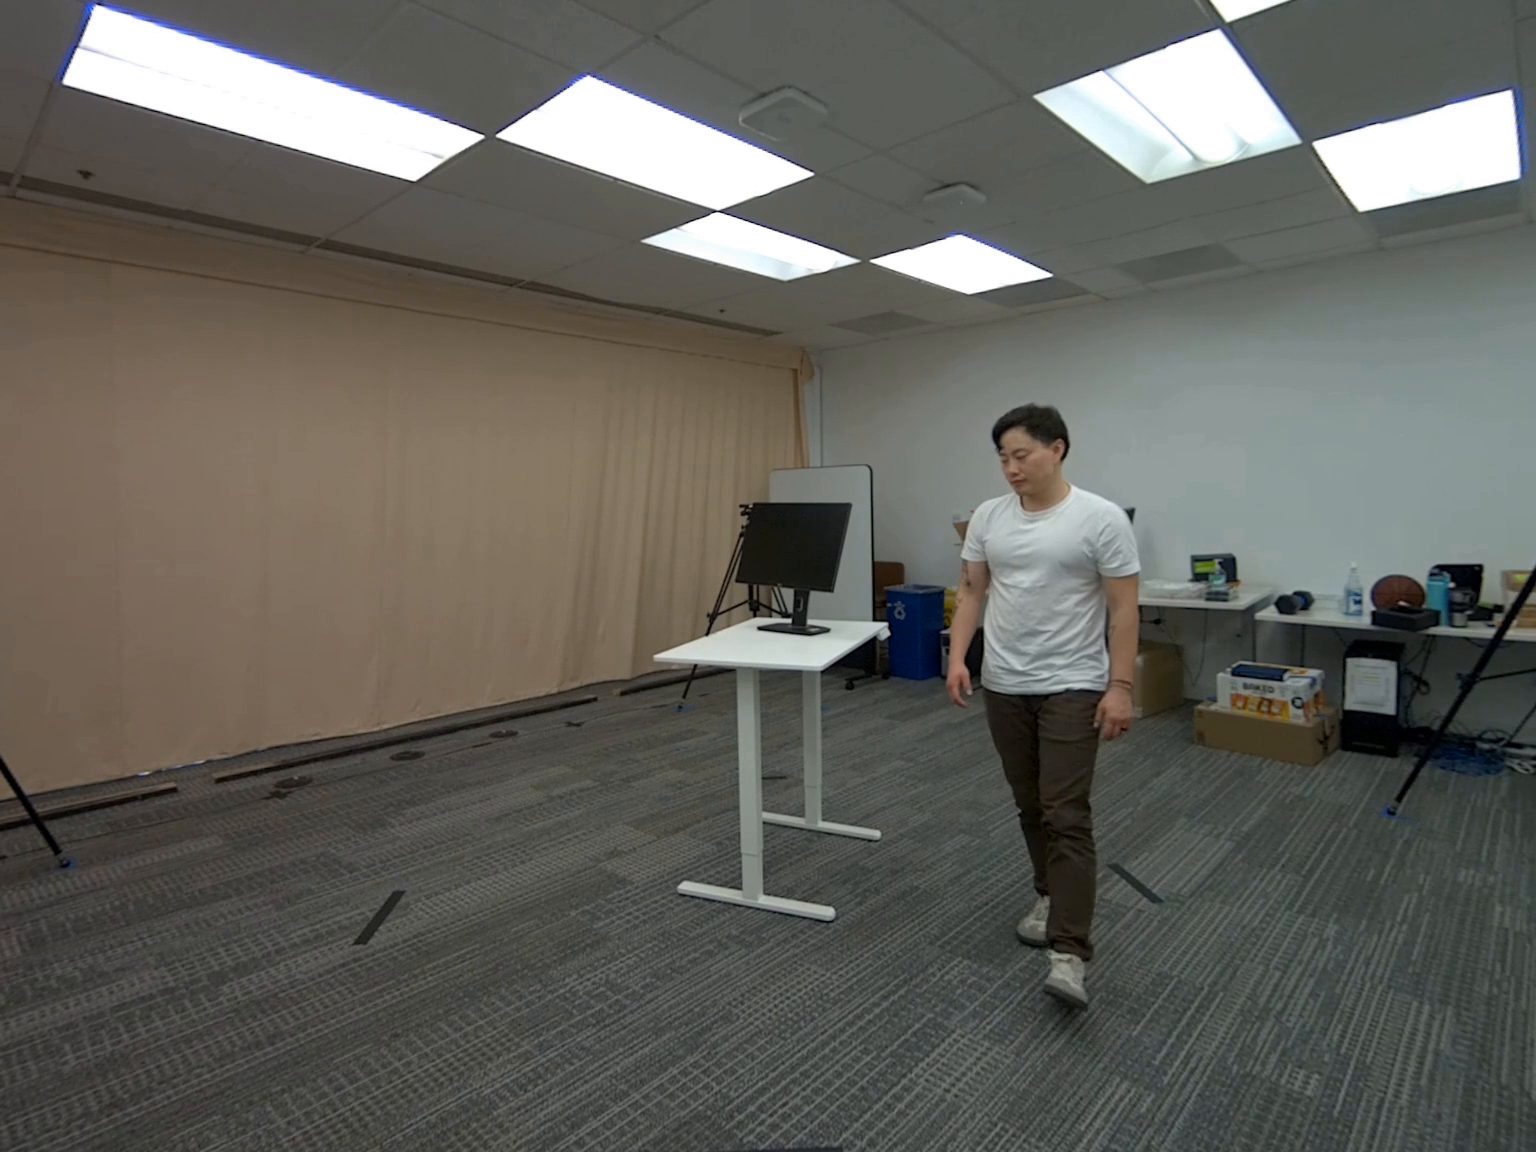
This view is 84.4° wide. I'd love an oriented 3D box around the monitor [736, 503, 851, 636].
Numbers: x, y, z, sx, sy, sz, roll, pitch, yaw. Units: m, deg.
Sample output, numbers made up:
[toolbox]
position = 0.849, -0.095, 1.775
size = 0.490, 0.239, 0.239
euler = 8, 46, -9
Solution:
[monitor]
position = 0.113, -0.033, 3.390
size = 0.557, 0.522, 0.181
euler = 4, 1, 44
